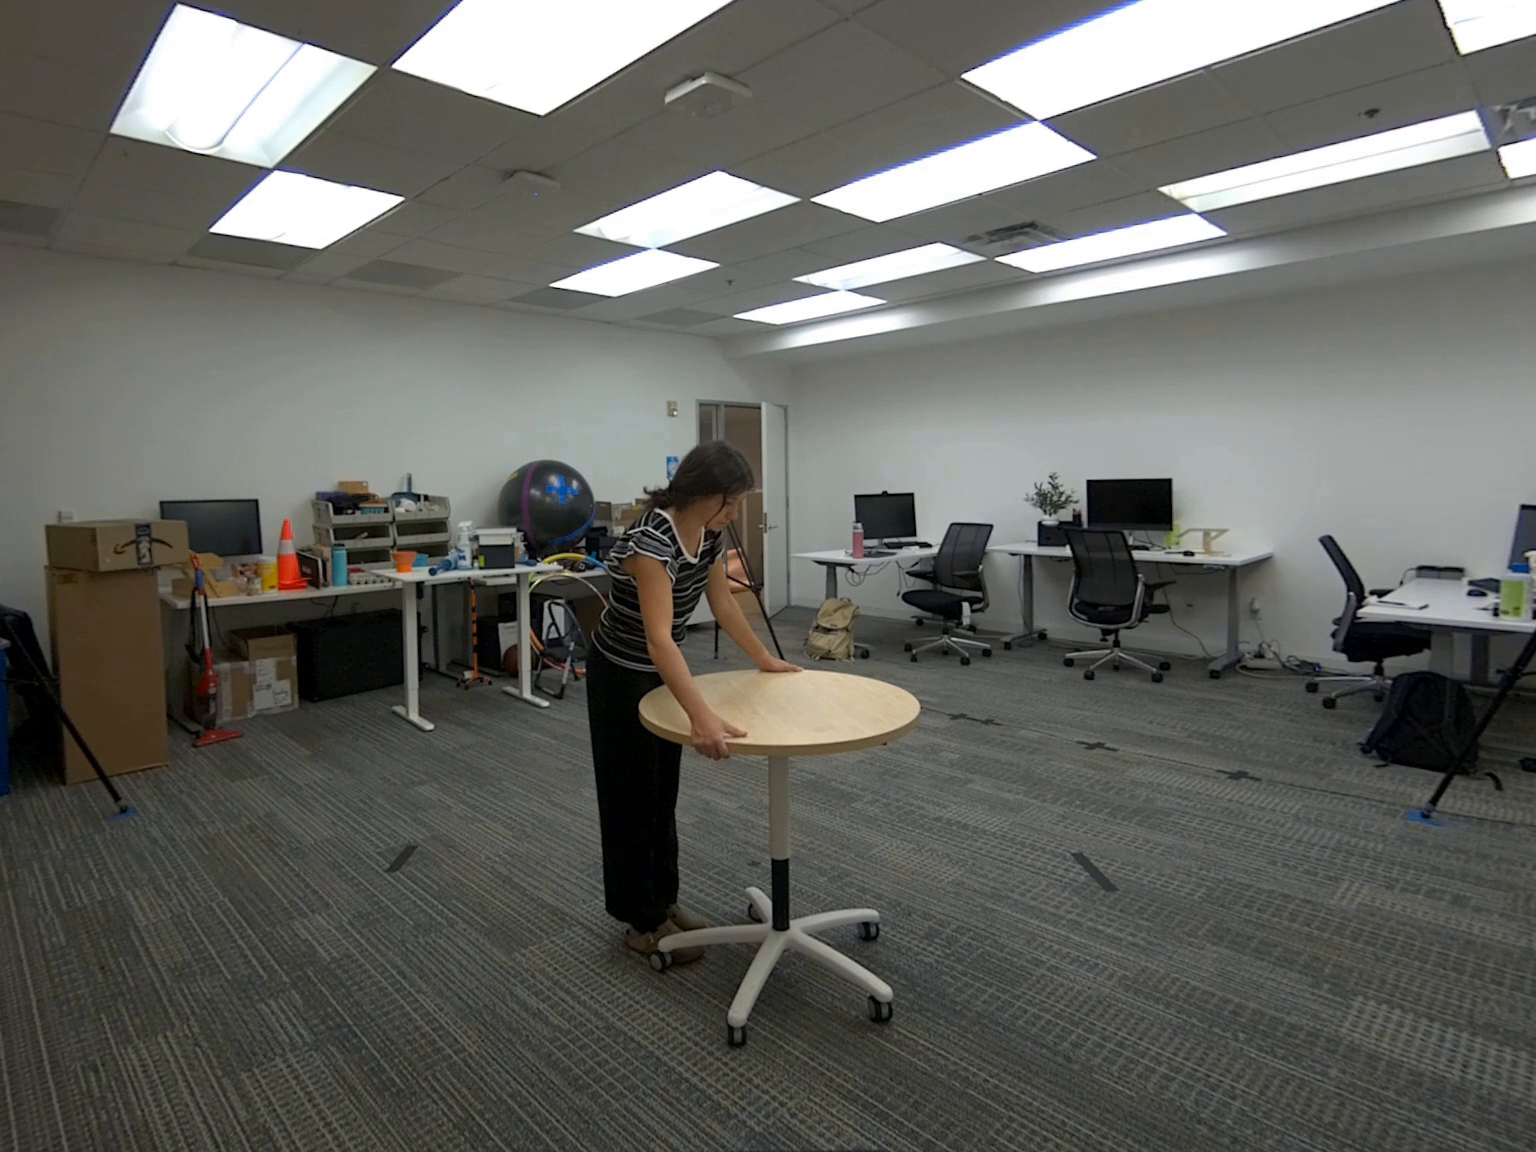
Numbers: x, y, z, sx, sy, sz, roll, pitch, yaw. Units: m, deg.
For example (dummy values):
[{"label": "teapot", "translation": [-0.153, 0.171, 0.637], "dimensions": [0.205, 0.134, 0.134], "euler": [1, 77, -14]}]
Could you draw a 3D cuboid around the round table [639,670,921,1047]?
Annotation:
[{"label": "round table", "translation": [0.050, 0.737, 2.379], "dimensions": [0.763, 0.791, 0.768], "euler": [-1, 5, -2]}]
